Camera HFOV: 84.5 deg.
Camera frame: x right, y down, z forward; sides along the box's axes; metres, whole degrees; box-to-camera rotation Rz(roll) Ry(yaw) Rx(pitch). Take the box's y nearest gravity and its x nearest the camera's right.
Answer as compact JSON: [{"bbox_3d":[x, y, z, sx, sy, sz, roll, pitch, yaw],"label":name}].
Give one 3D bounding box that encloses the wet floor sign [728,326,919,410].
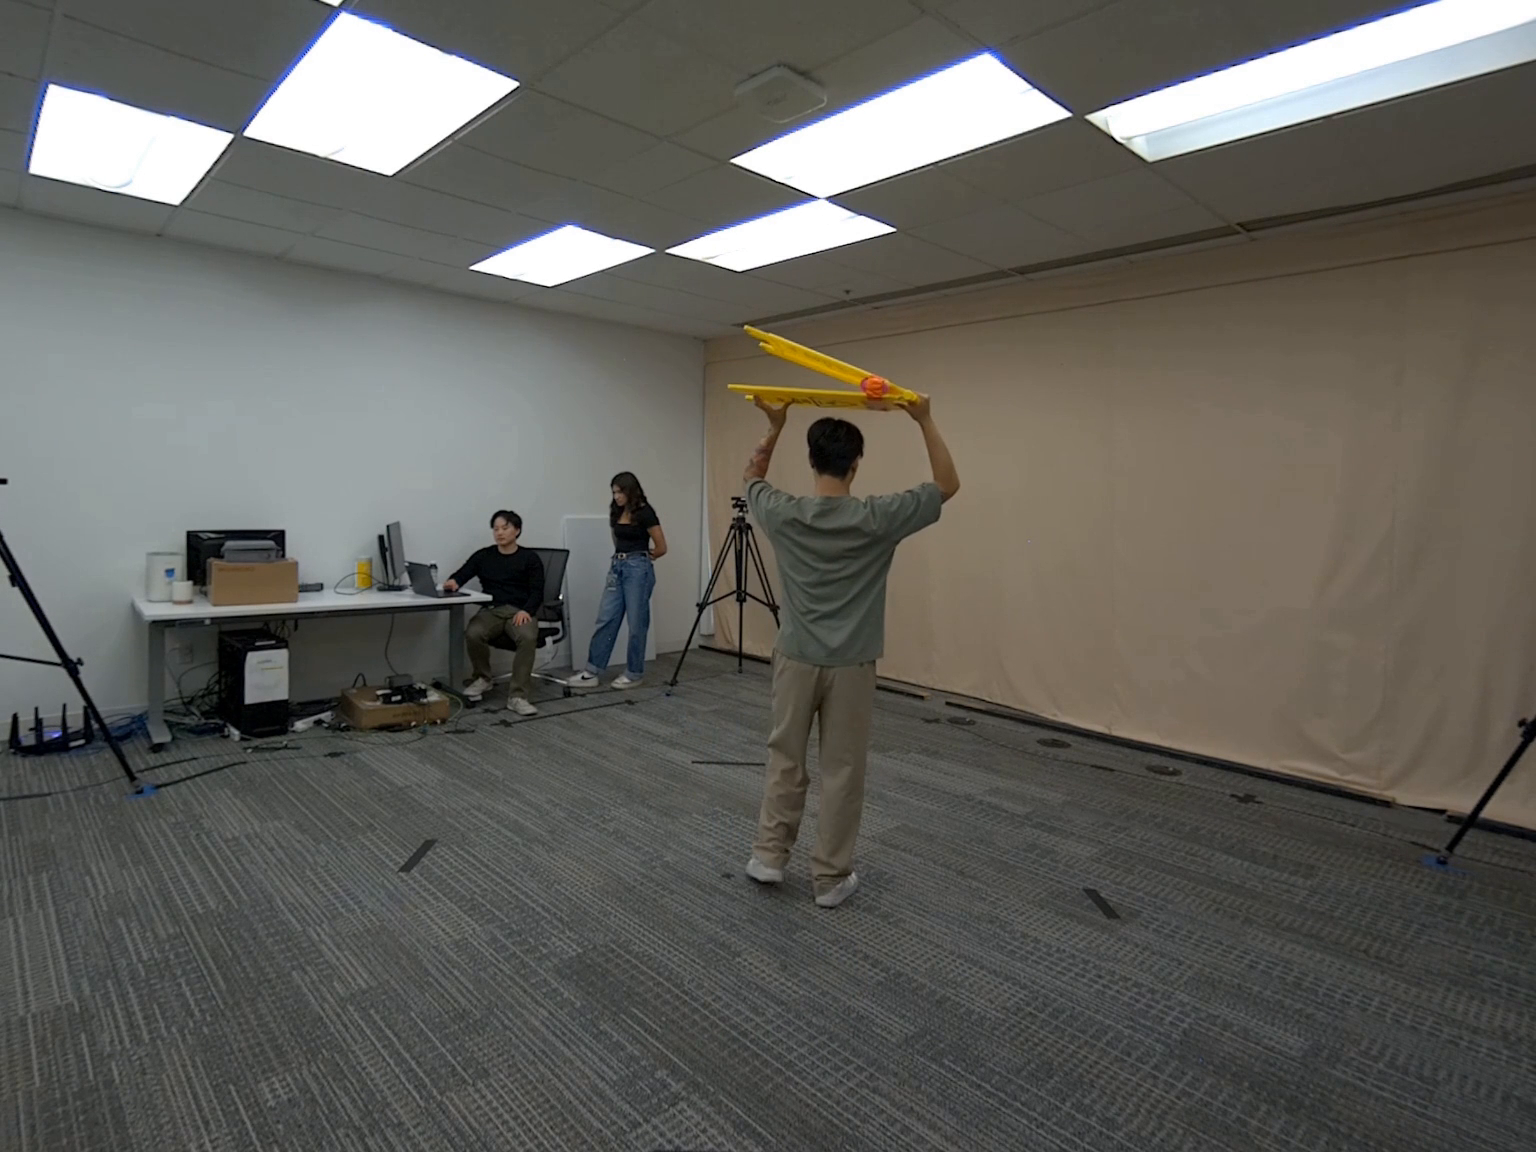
[{"bbox_3d":[0.208,-0.682,2.988,0.656,0.289,0.278,15,3,17],"label":"wet floor sign"}]
